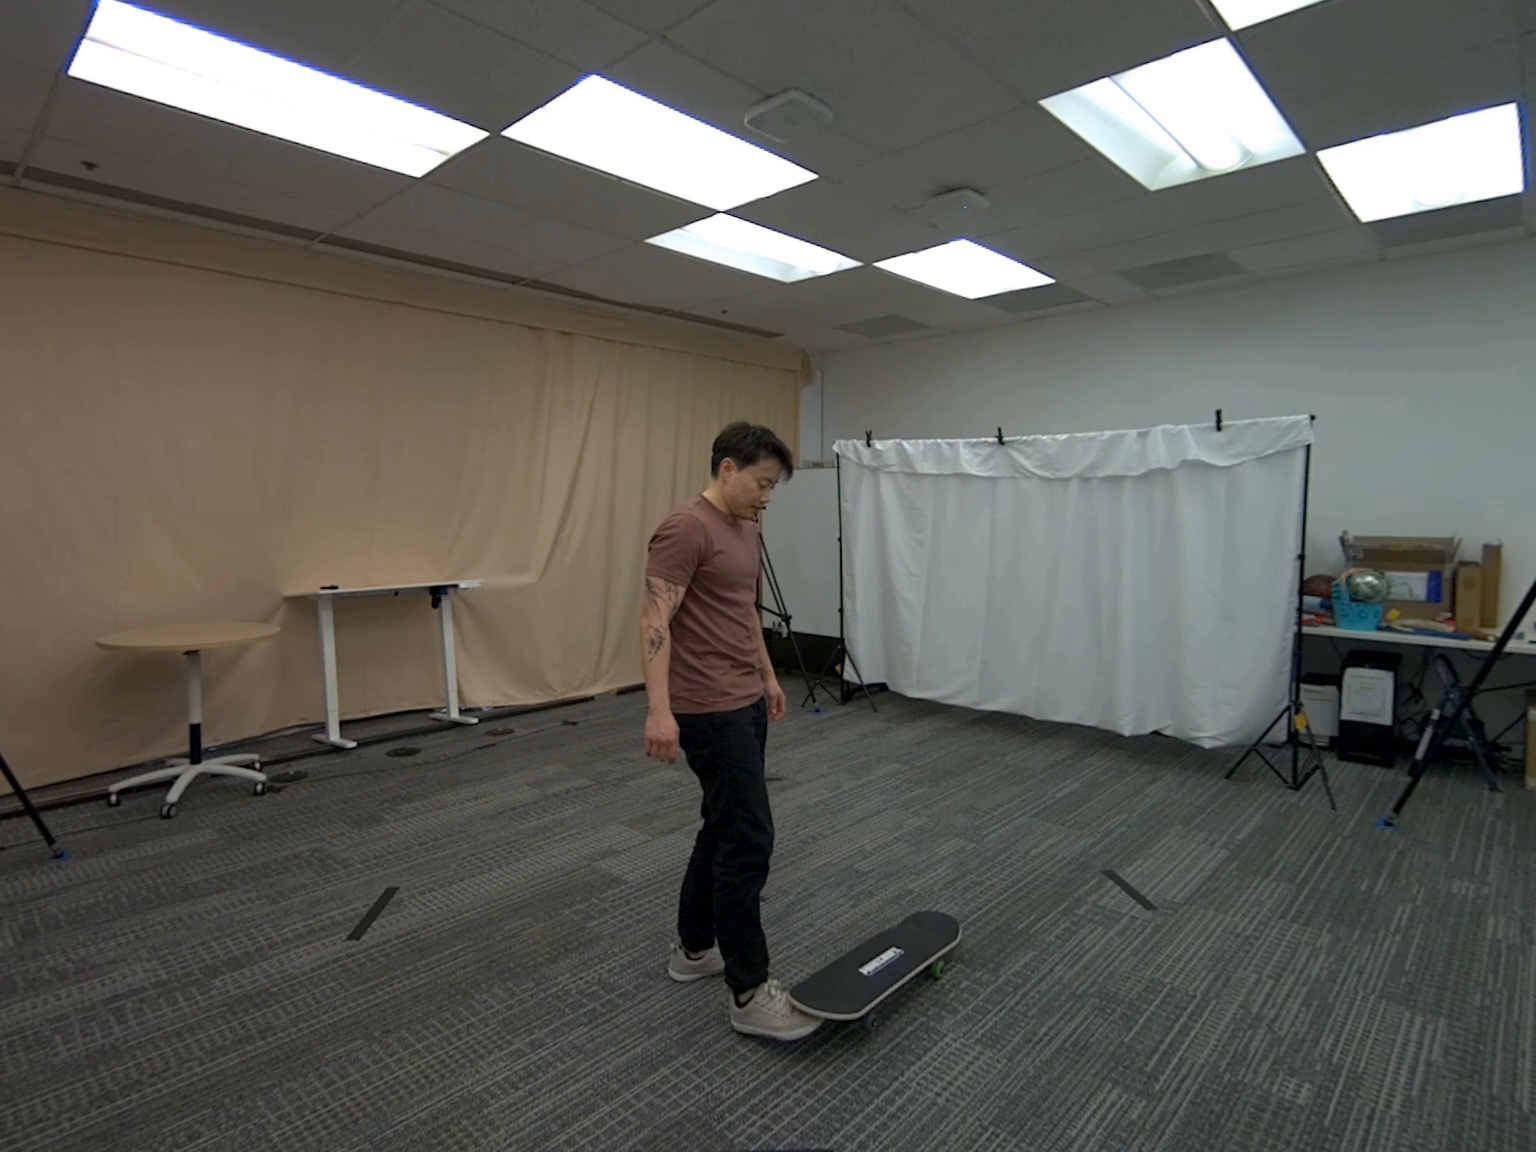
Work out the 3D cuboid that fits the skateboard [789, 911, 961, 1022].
[{"bbox_3d":[0.323,1.128,2.371,0.200,0.110,0.760,2,1,38],"label":"skateboard"}]
